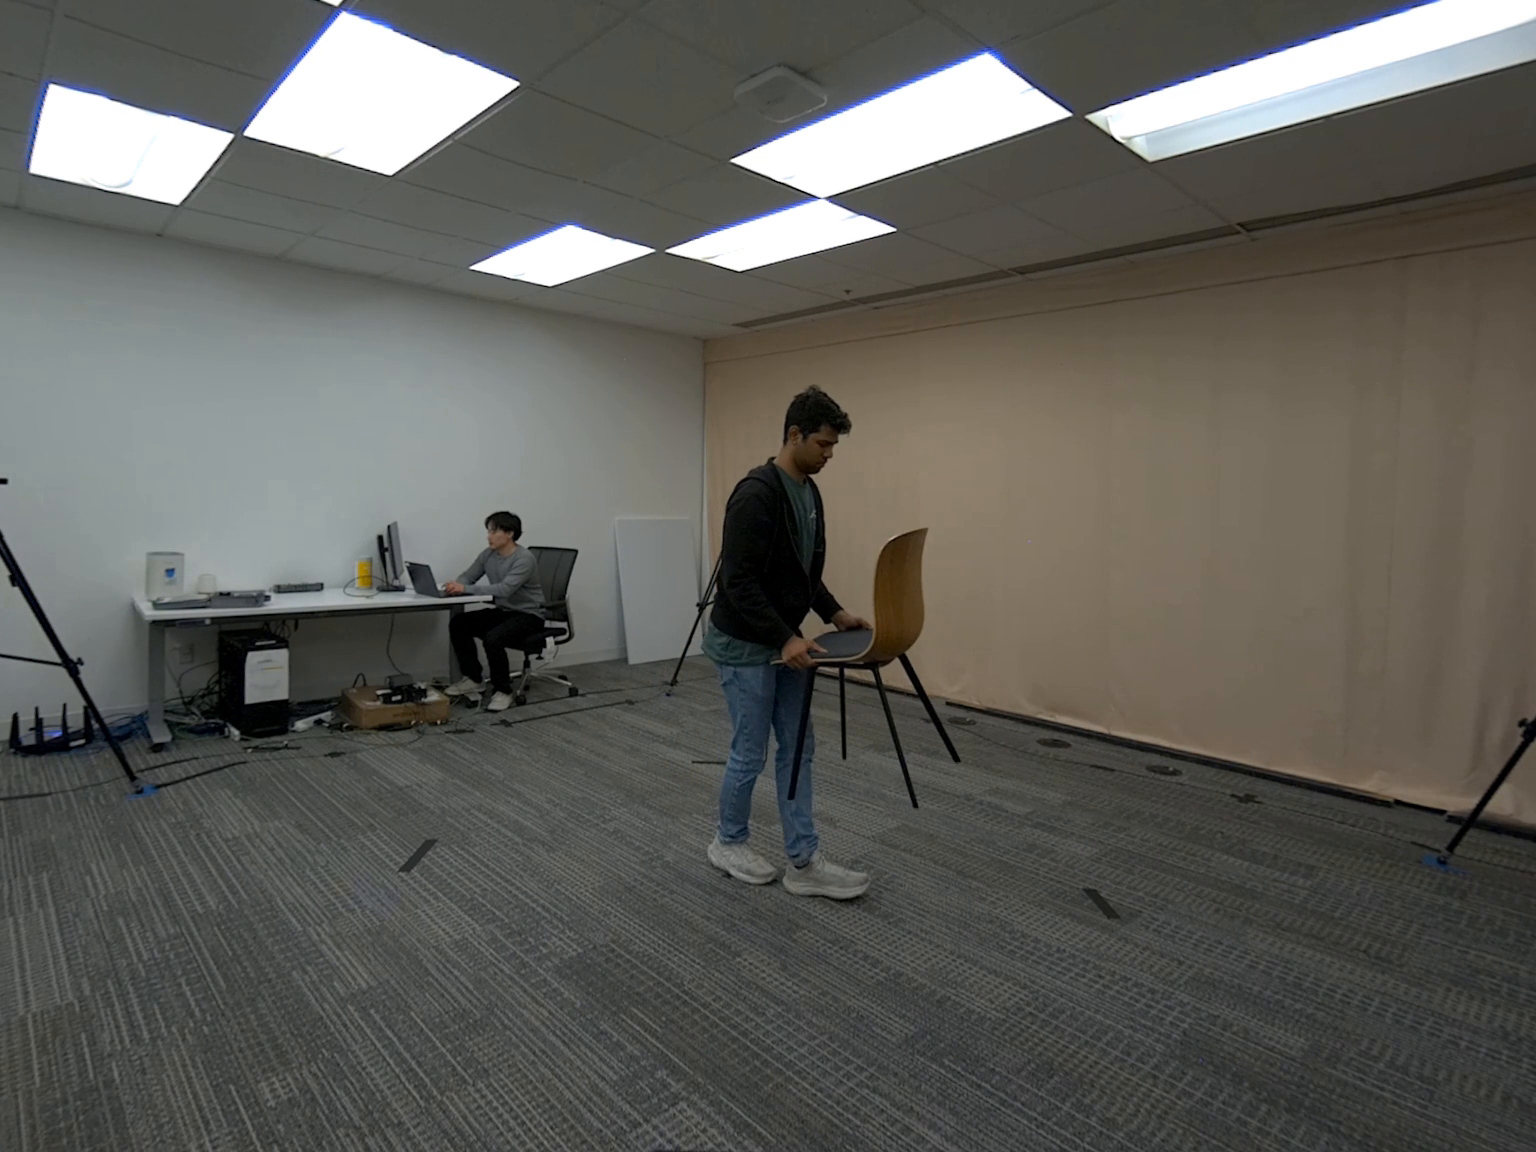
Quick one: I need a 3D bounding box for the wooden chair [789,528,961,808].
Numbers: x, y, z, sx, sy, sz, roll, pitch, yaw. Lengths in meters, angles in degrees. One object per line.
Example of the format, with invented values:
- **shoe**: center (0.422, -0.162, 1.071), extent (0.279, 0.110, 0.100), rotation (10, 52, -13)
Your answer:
- **wooden chair**: center (0.300, 0.292, 2.877), extent (0.534, 0.874, 0.470), rotation (-3, 5, 31)
